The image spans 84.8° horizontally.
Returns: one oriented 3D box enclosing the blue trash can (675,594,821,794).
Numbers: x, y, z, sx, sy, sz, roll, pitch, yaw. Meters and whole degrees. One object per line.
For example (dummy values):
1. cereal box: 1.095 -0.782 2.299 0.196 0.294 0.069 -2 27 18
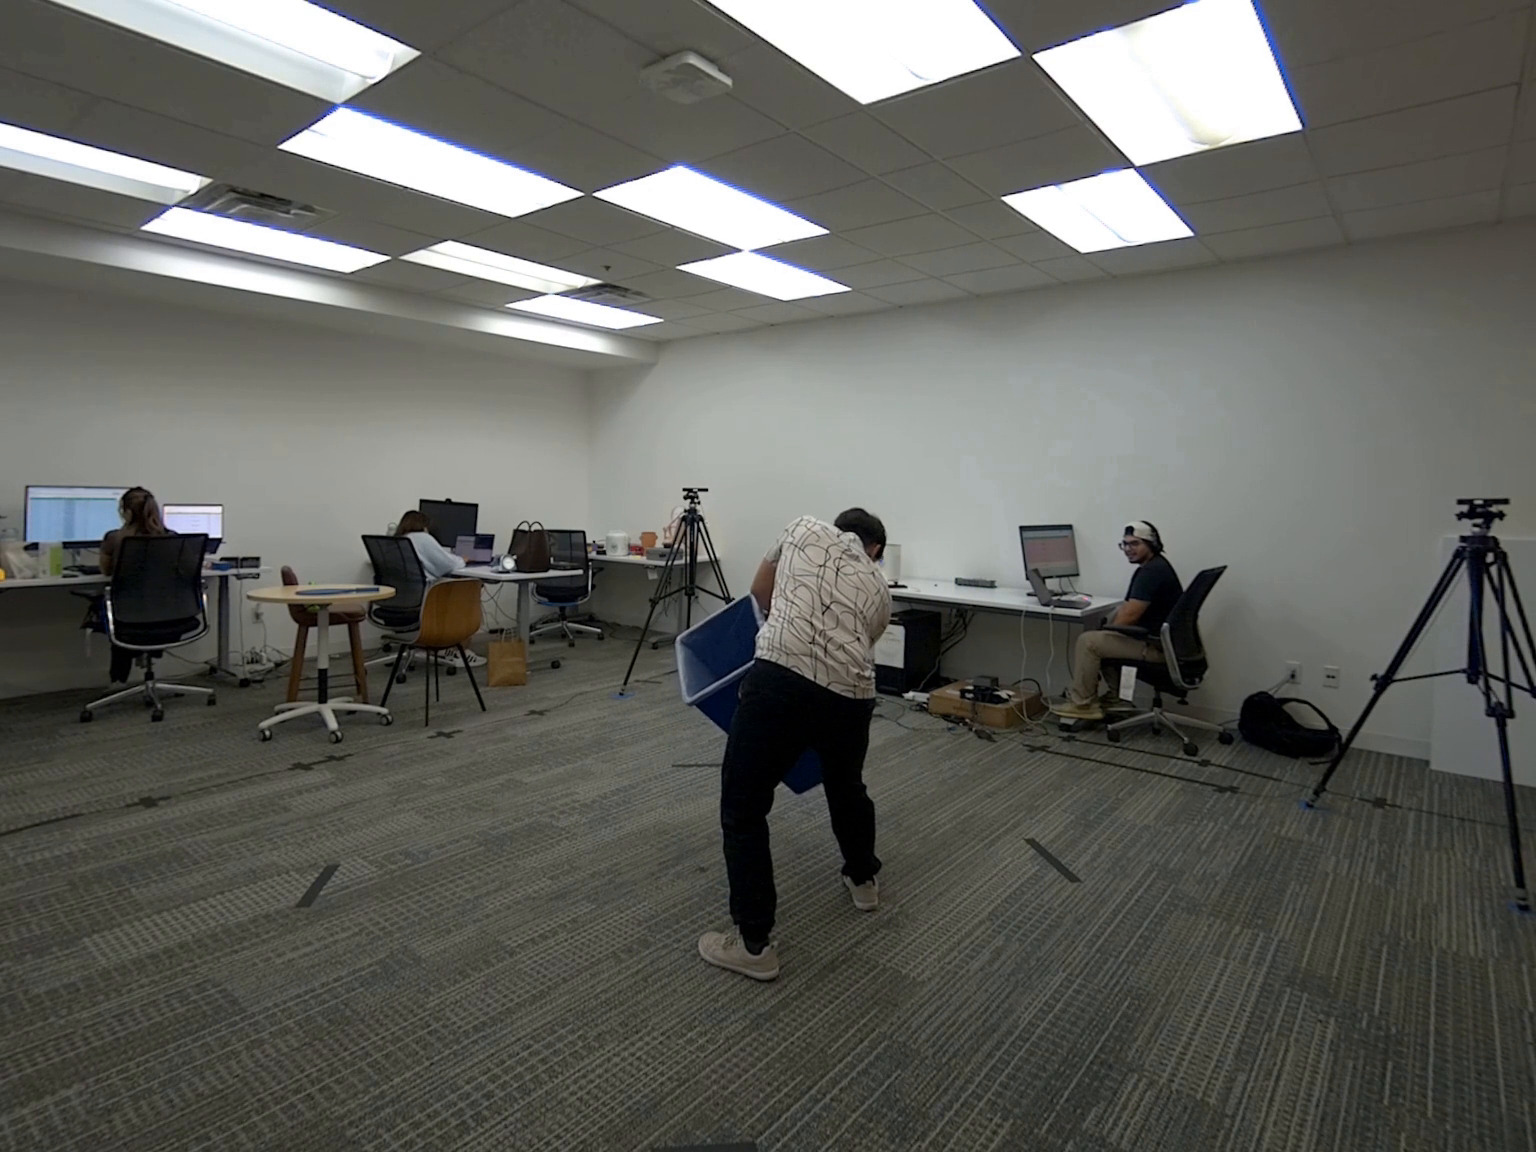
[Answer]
1. blue trash can: 0.006 0.466 3.210 0.380 0.687 0.387 -32 34 12
